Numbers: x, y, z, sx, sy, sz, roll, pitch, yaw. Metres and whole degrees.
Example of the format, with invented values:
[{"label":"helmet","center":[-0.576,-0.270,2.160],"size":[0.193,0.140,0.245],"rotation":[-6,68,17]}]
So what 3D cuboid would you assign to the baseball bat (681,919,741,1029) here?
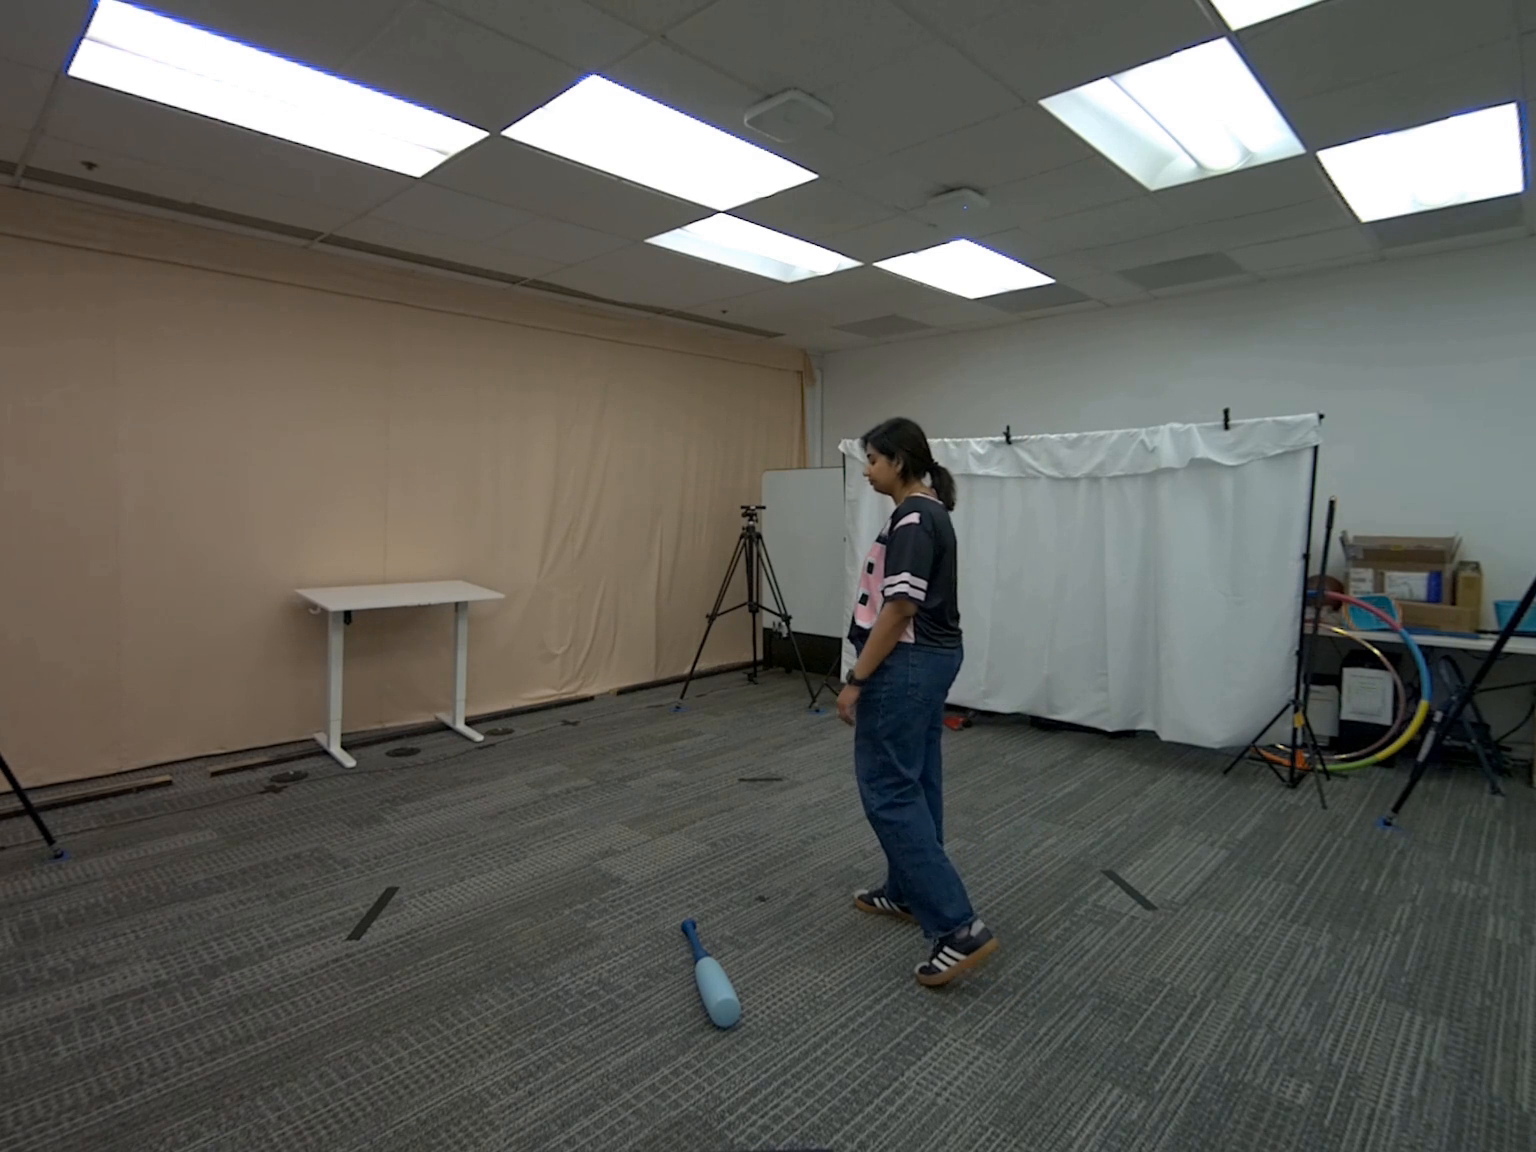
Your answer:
[{"label":"baseball bat","center":[-0.183,1.153,2.480],"size":[0.087,0.089,0.552],"rotation":[-1,1,-17]}]
